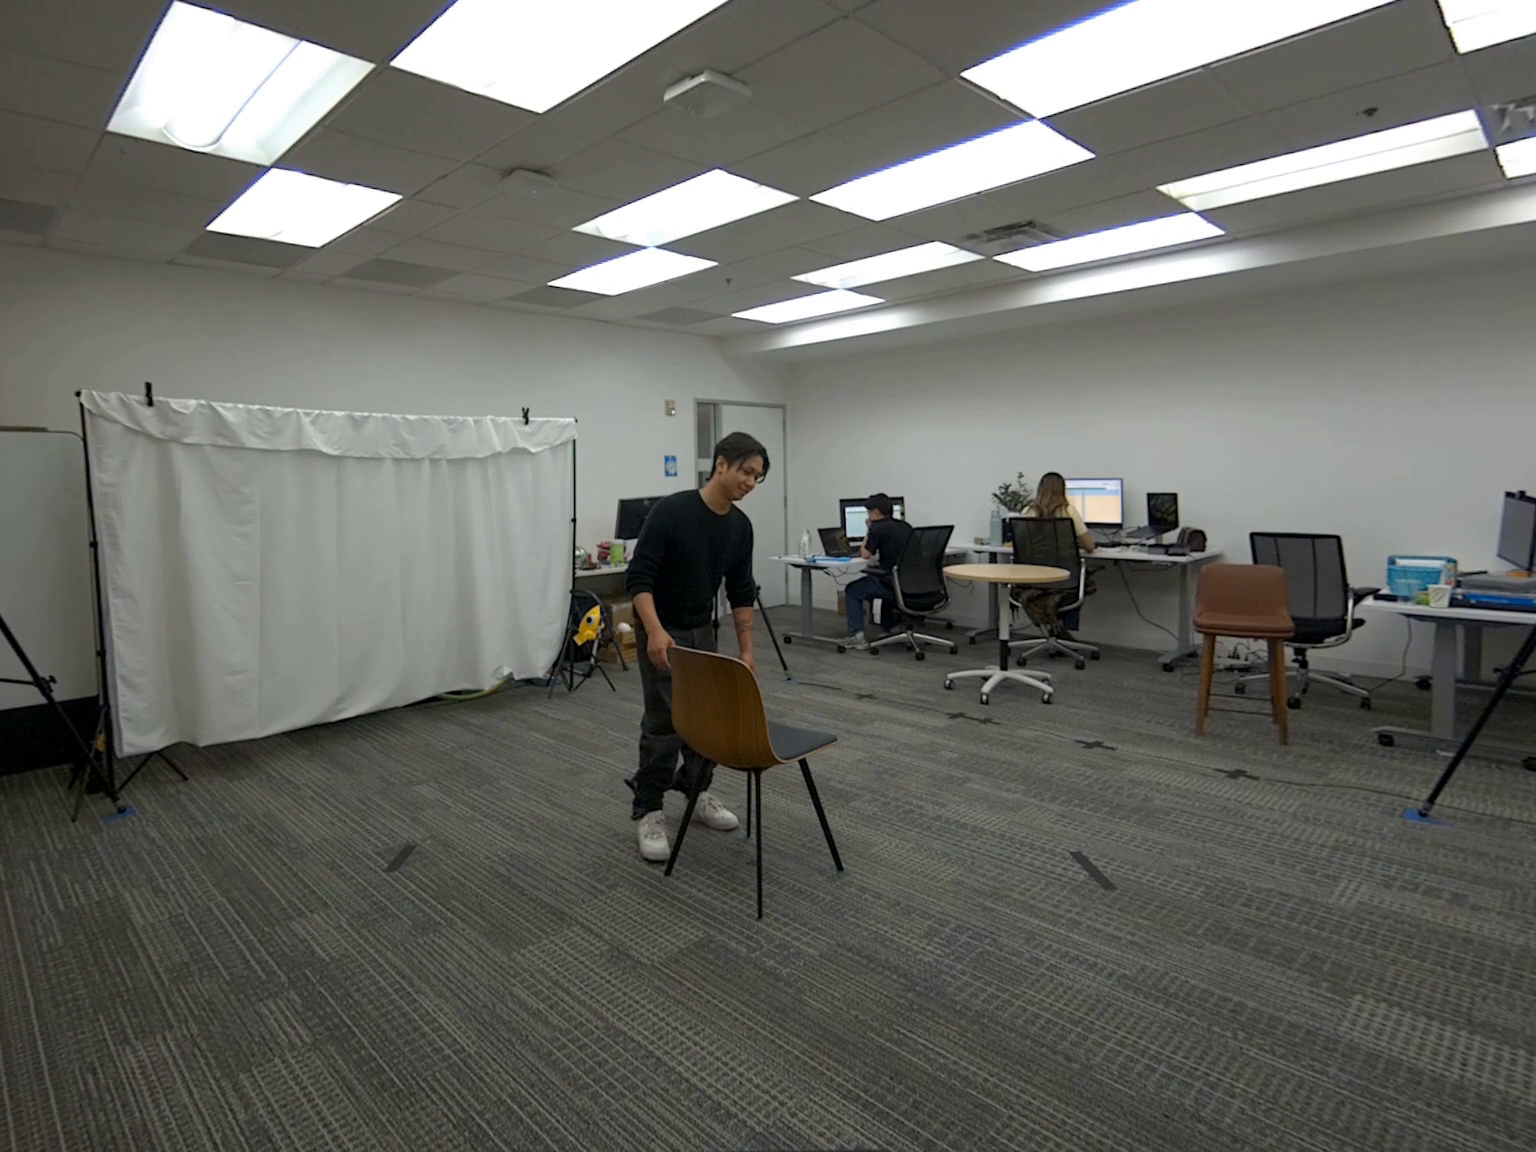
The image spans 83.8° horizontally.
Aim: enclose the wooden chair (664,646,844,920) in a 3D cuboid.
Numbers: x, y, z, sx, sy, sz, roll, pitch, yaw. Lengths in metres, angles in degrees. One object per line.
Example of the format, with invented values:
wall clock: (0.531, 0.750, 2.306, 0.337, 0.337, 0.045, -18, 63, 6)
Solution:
wooden chair: (-0.048, 0.627, 2.994, 0.492, 0.871, 0.511, 3, 10, 43)
